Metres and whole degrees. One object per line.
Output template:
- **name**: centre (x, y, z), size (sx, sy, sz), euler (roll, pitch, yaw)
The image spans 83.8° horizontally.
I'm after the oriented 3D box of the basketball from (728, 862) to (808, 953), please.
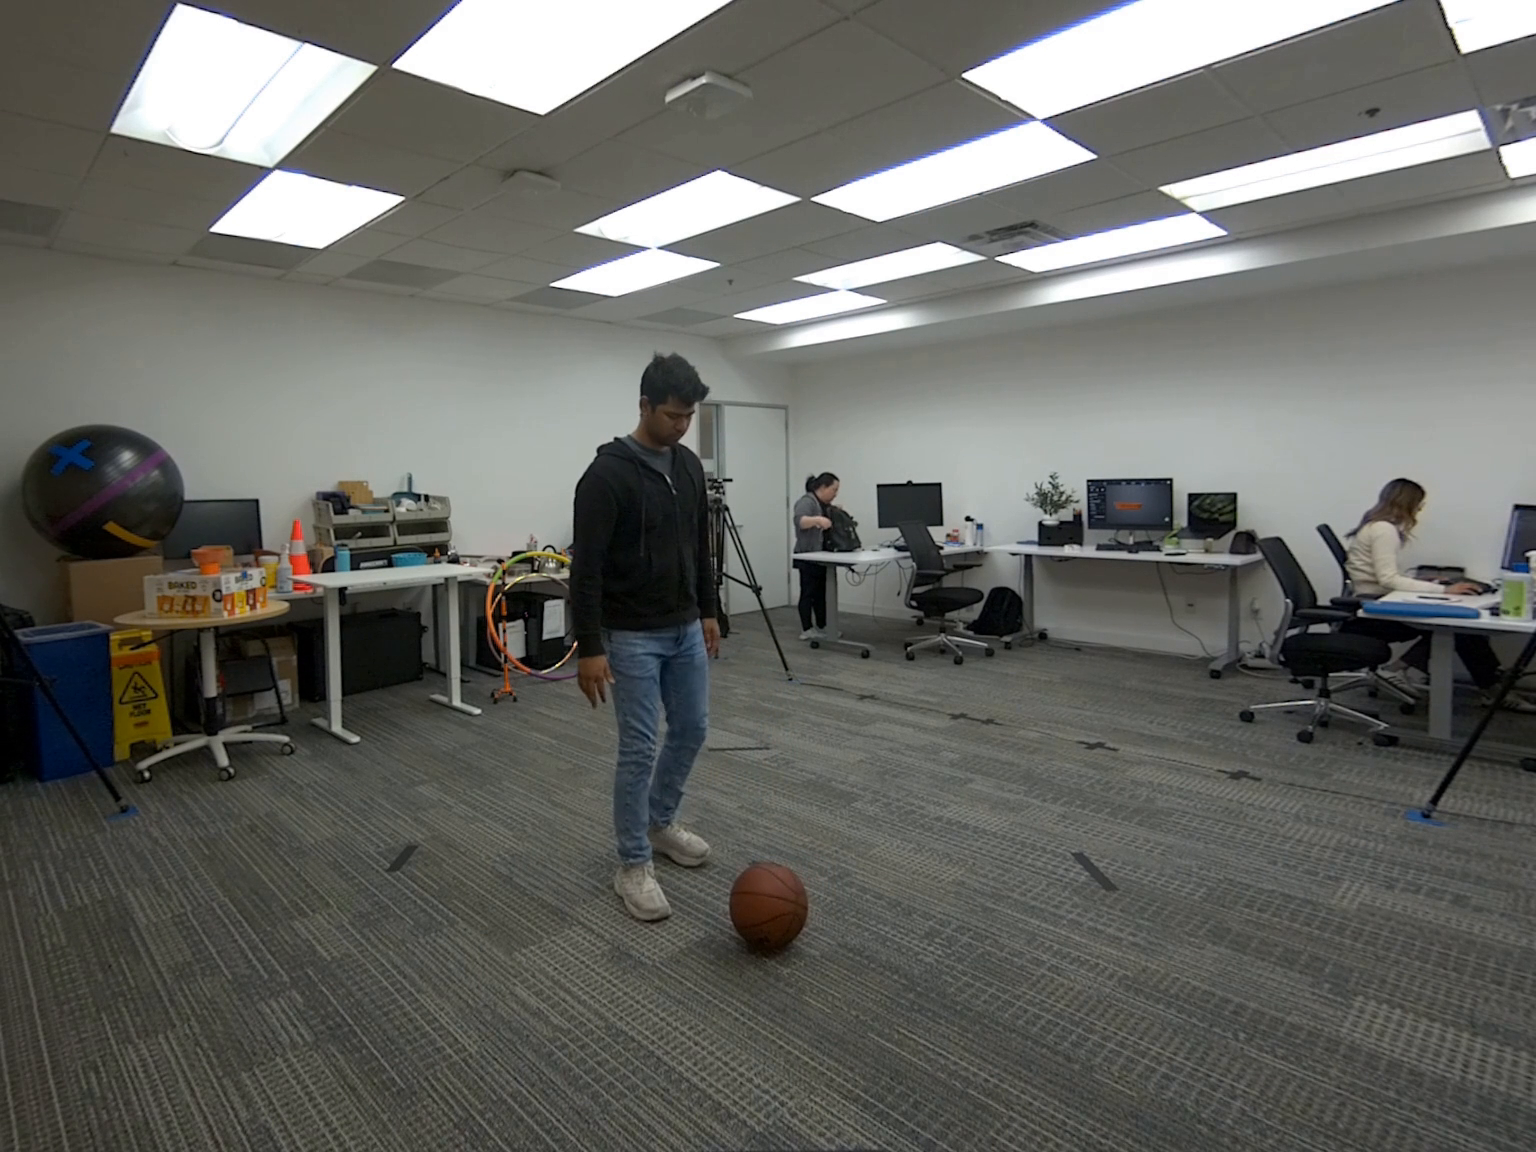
- **basketball**: centre (0.010, 0.989, 2.560), size (0.236, 0.235, 0.237), euler (-1, 5, -2)
